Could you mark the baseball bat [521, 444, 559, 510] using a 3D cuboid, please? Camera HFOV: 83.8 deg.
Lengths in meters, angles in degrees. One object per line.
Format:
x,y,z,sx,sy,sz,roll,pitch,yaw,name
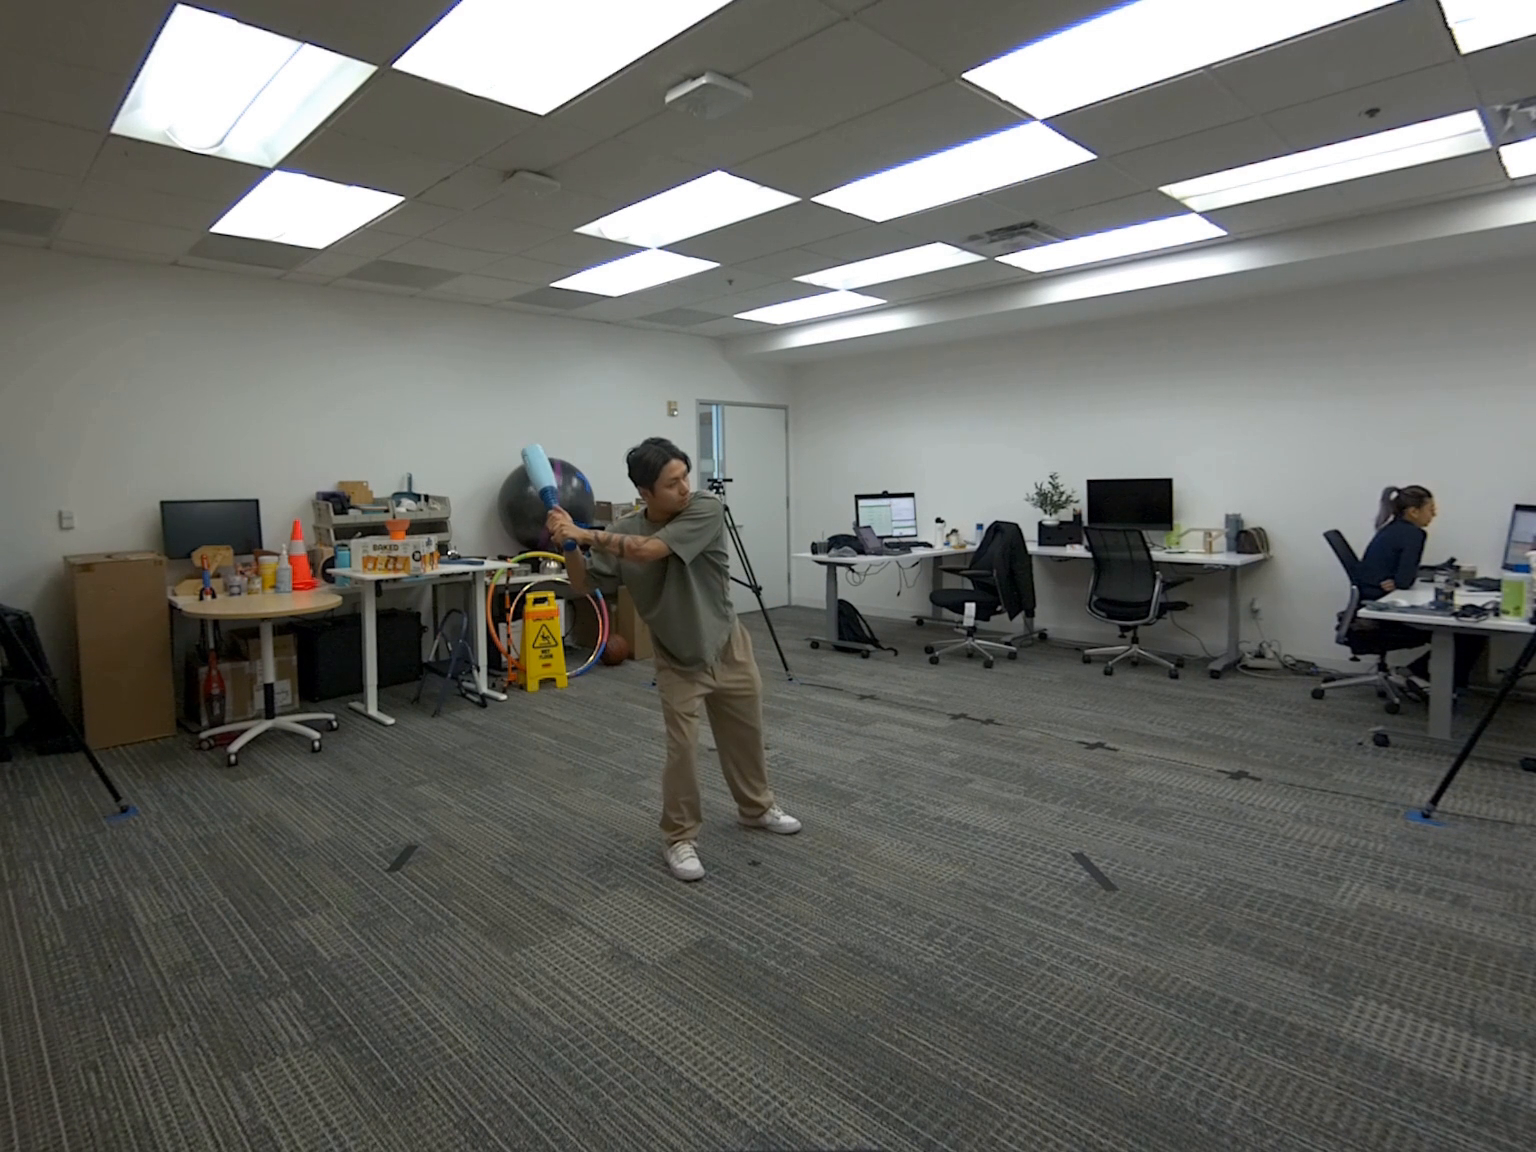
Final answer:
-0.766,-0.282,3.016,0.087,0.088,0.563,-4,46,-30,baseball bat
